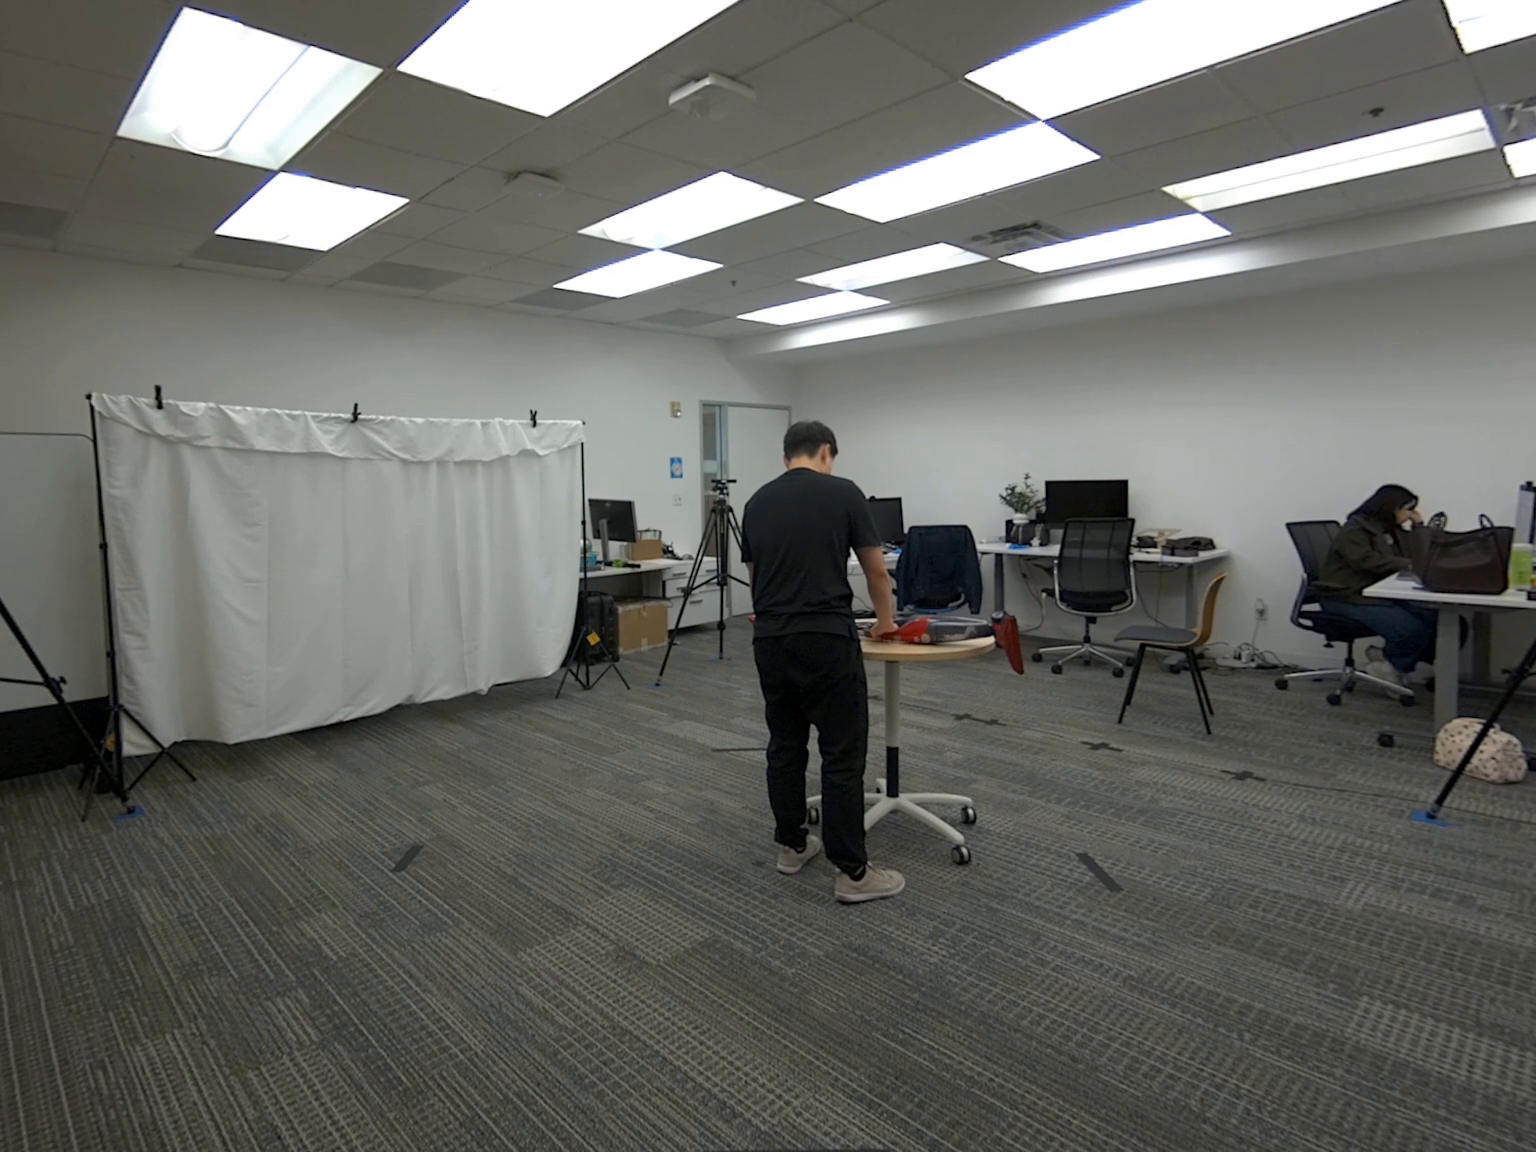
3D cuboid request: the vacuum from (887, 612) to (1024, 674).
[{"bbox_3d":[0.392,0.208,3.241,1.076,0.245,0.144,1,33,30],"label":"vacuum"}]
